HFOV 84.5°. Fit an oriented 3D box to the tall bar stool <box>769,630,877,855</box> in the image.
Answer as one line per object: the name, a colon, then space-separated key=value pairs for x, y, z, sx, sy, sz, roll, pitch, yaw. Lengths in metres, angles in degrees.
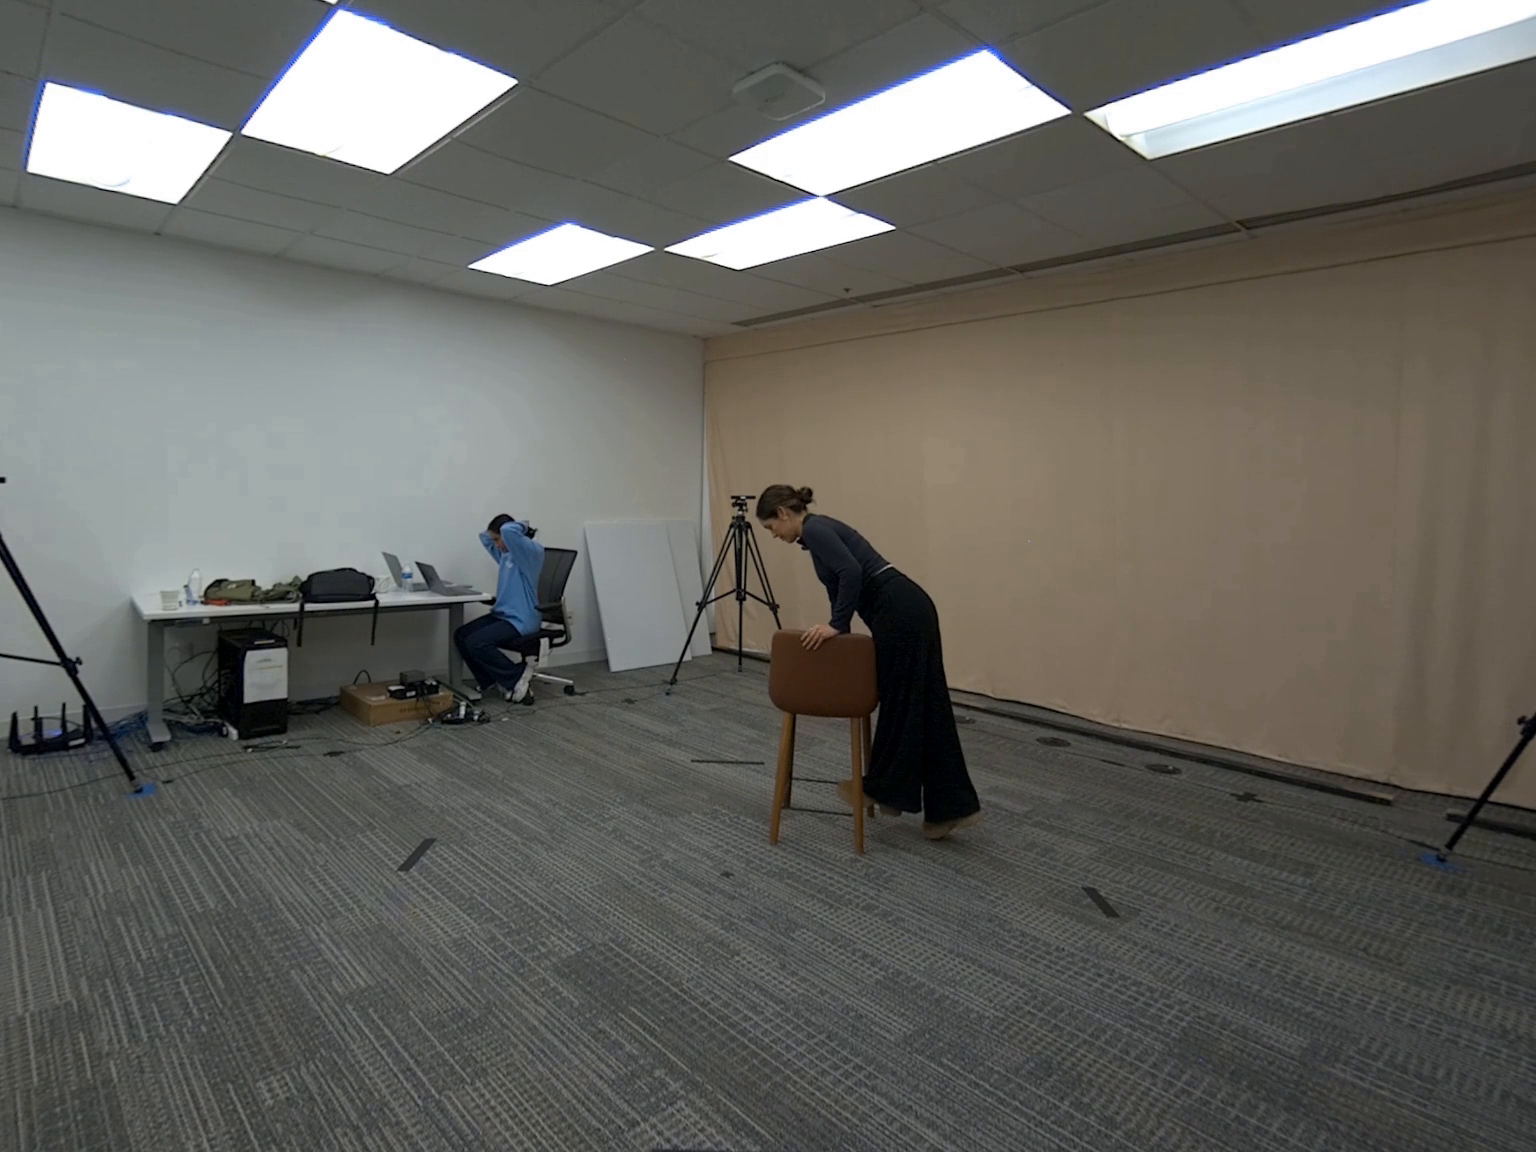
tall bar stool: x=0.233 y=0.637 z=3.542 sx=0.461 sy=0.887 sz=0.464 roll=2 pitch=4 yaw=12
